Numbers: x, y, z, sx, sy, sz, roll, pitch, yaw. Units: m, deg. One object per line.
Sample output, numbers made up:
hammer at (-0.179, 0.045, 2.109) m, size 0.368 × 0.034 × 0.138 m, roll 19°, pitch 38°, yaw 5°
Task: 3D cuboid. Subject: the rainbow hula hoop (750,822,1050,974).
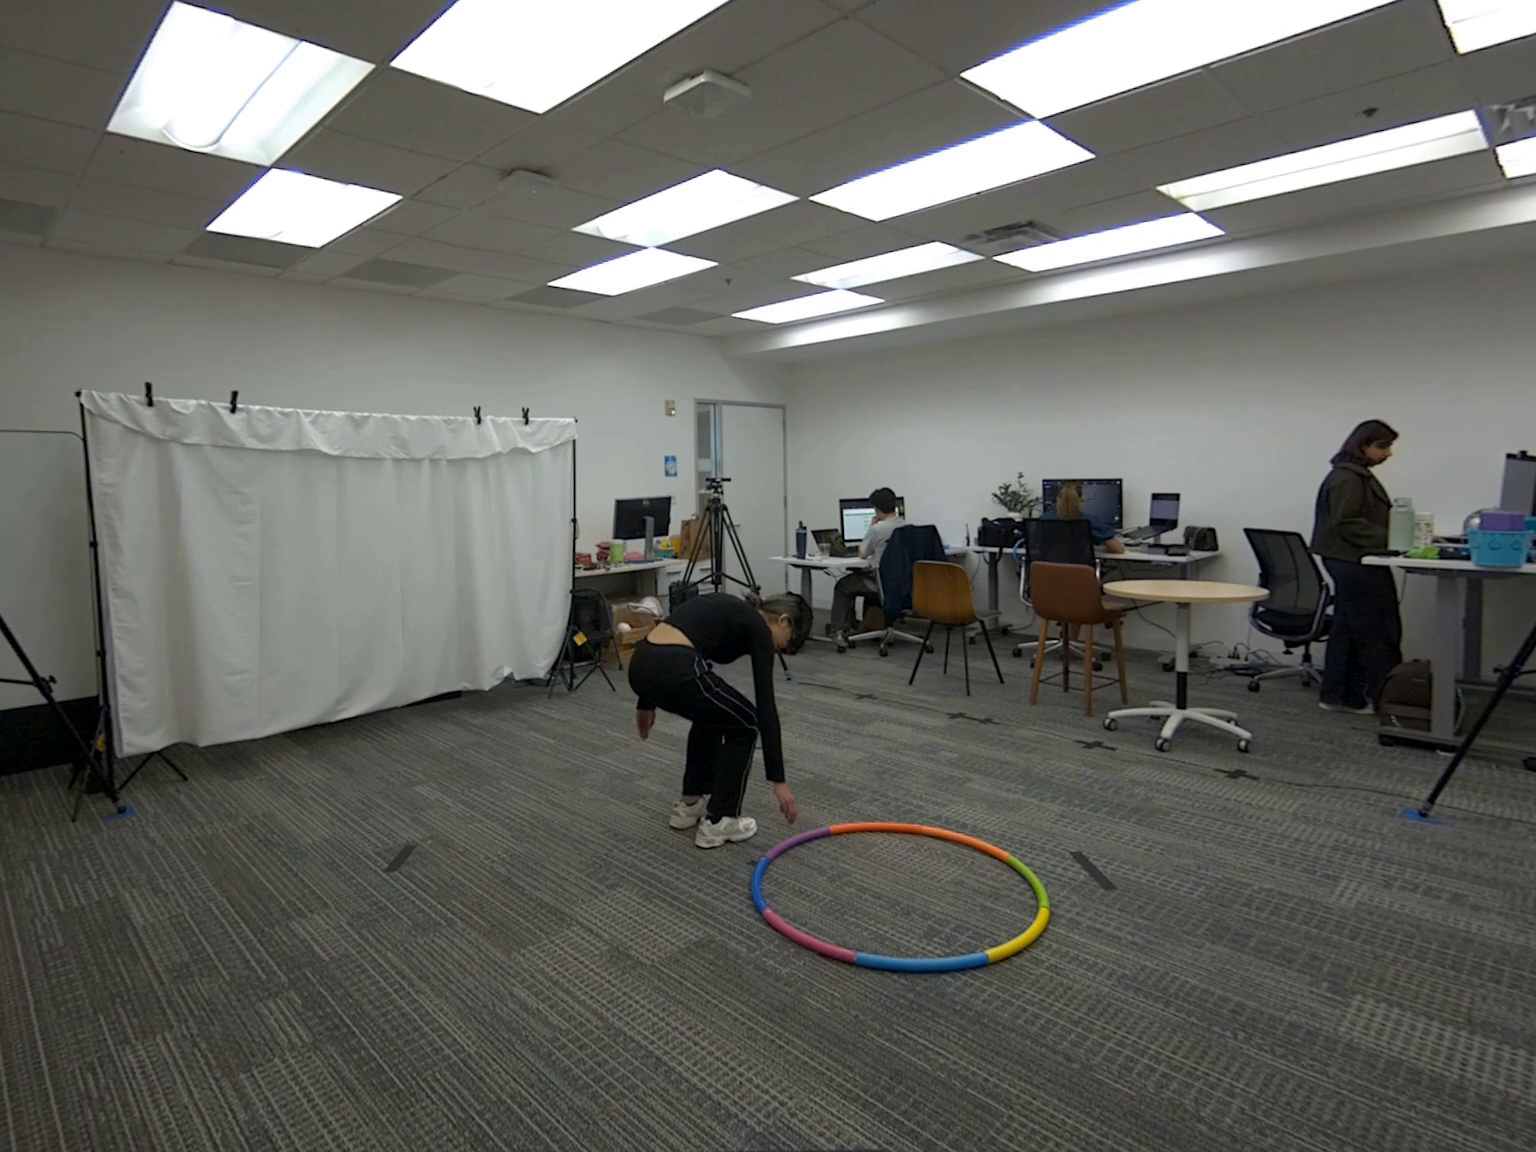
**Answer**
rainbow hula hoop at (0.428, 1.030, 2.886) m, size 0.978 × 0.035 × 0.984 m, roll -2°, pitch 6°, yaw -2°
